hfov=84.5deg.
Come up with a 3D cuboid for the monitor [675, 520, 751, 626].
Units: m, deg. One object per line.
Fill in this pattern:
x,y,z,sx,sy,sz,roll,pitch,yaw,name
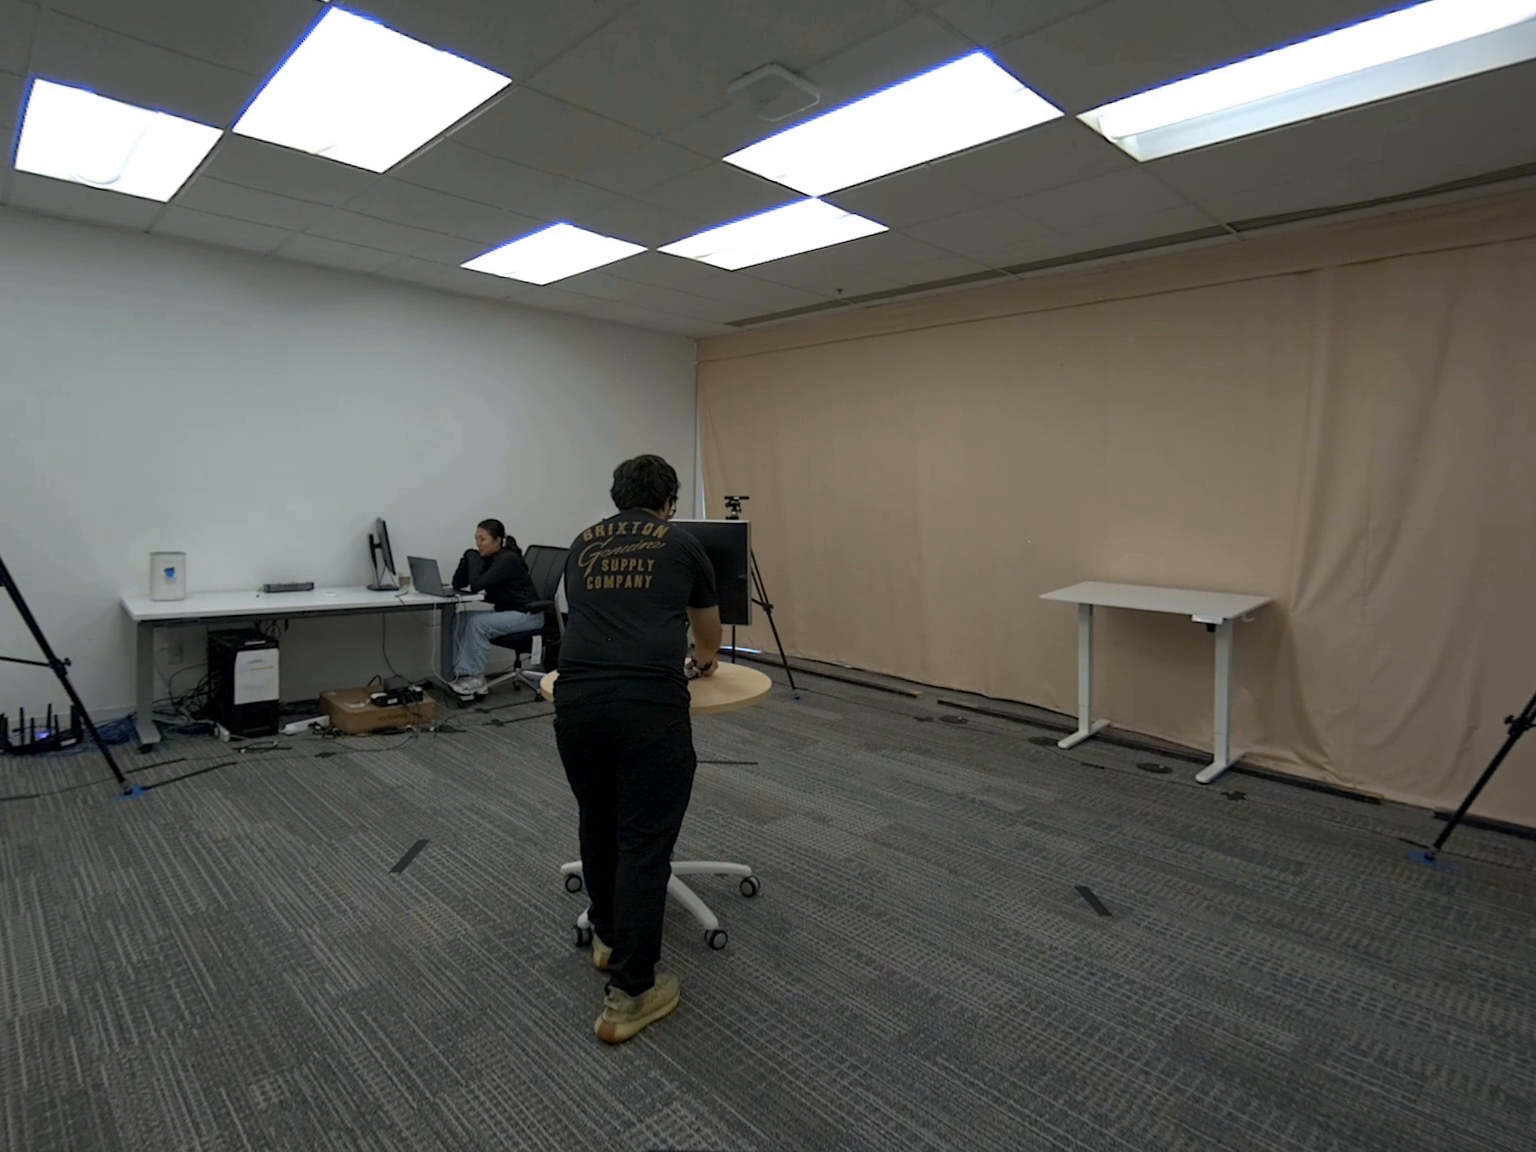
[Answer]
-0.353,0.078,2.902,0.574,0.552,0.207,3,5,20,monitor
